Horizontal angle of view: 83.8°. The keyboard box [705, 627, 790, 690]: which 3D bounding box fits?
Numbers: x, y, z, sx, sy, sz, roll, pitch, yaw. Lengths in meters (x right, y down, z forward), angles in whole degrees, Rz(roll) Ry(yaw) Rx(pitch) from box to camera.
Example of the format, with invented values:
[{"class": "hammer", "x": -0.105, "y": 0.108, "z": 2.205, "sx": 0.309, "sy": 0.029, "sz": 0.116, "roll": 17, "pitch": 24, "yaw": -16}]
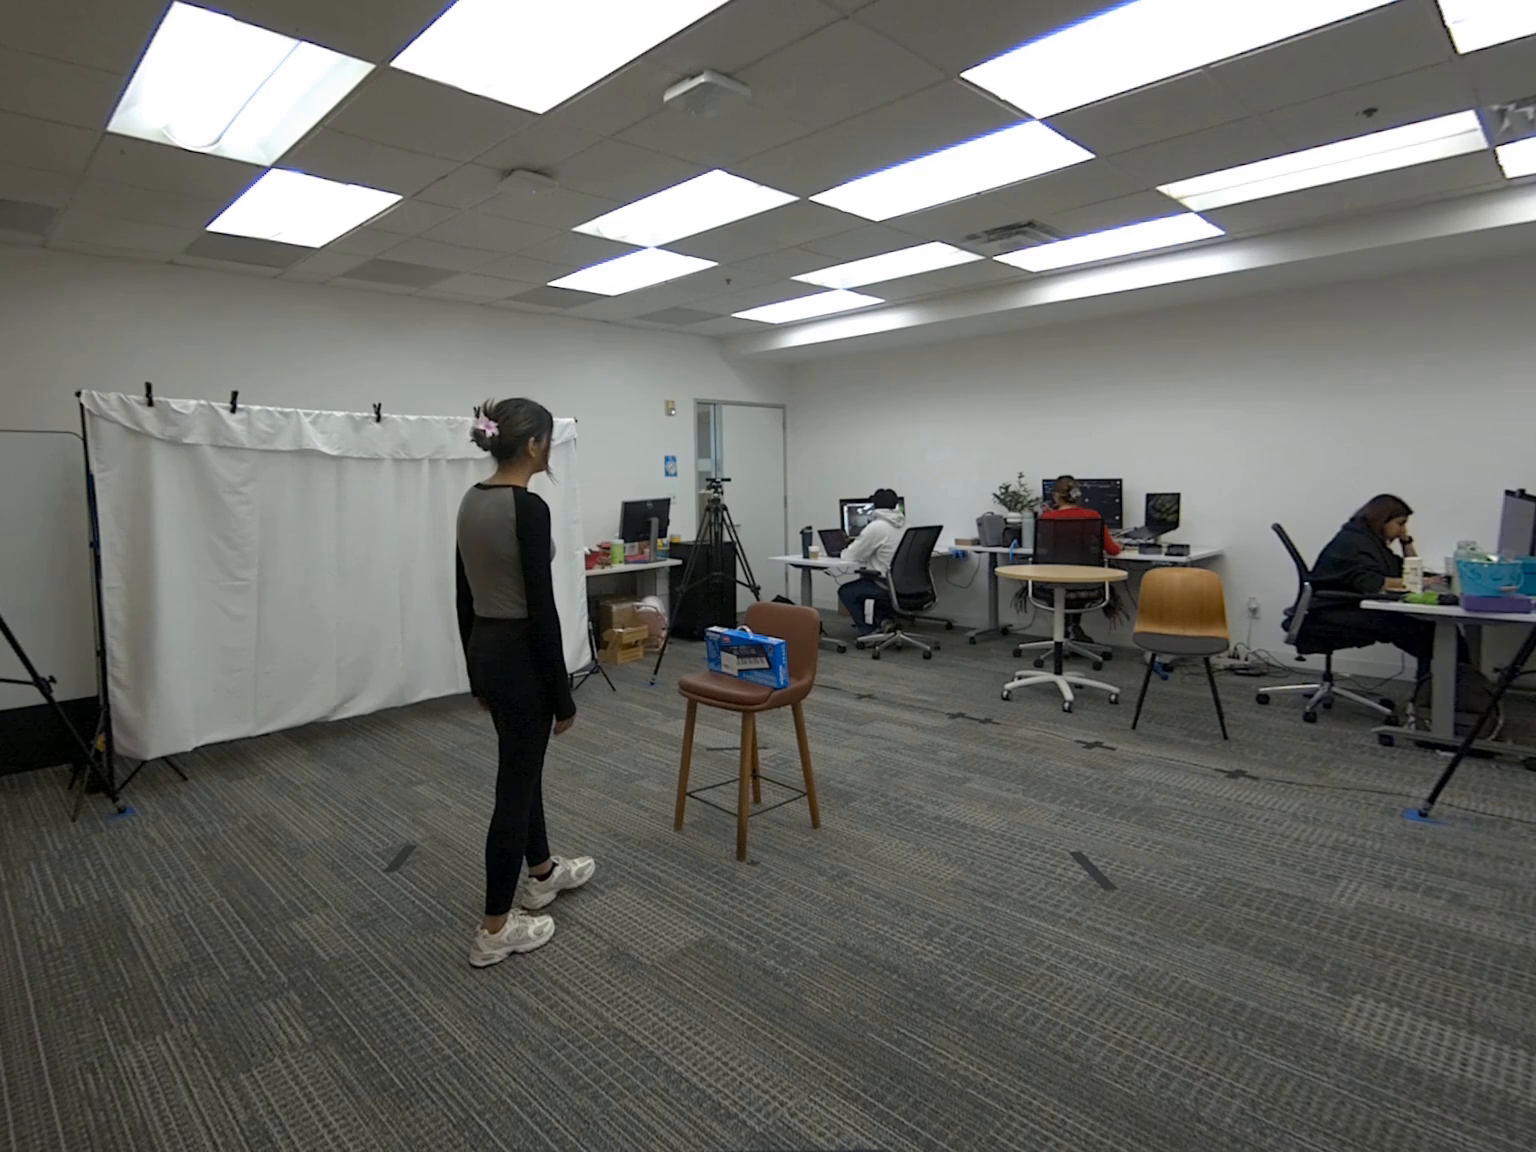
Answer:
[{"class": "keyboard box", "x": -0.085, "y": 0.314, "z": 3.354, "sx": 0.058, "sy": 0.175, "sz": 0.450, "roll": -10, "pitch": 10, "yaw": -39}]
